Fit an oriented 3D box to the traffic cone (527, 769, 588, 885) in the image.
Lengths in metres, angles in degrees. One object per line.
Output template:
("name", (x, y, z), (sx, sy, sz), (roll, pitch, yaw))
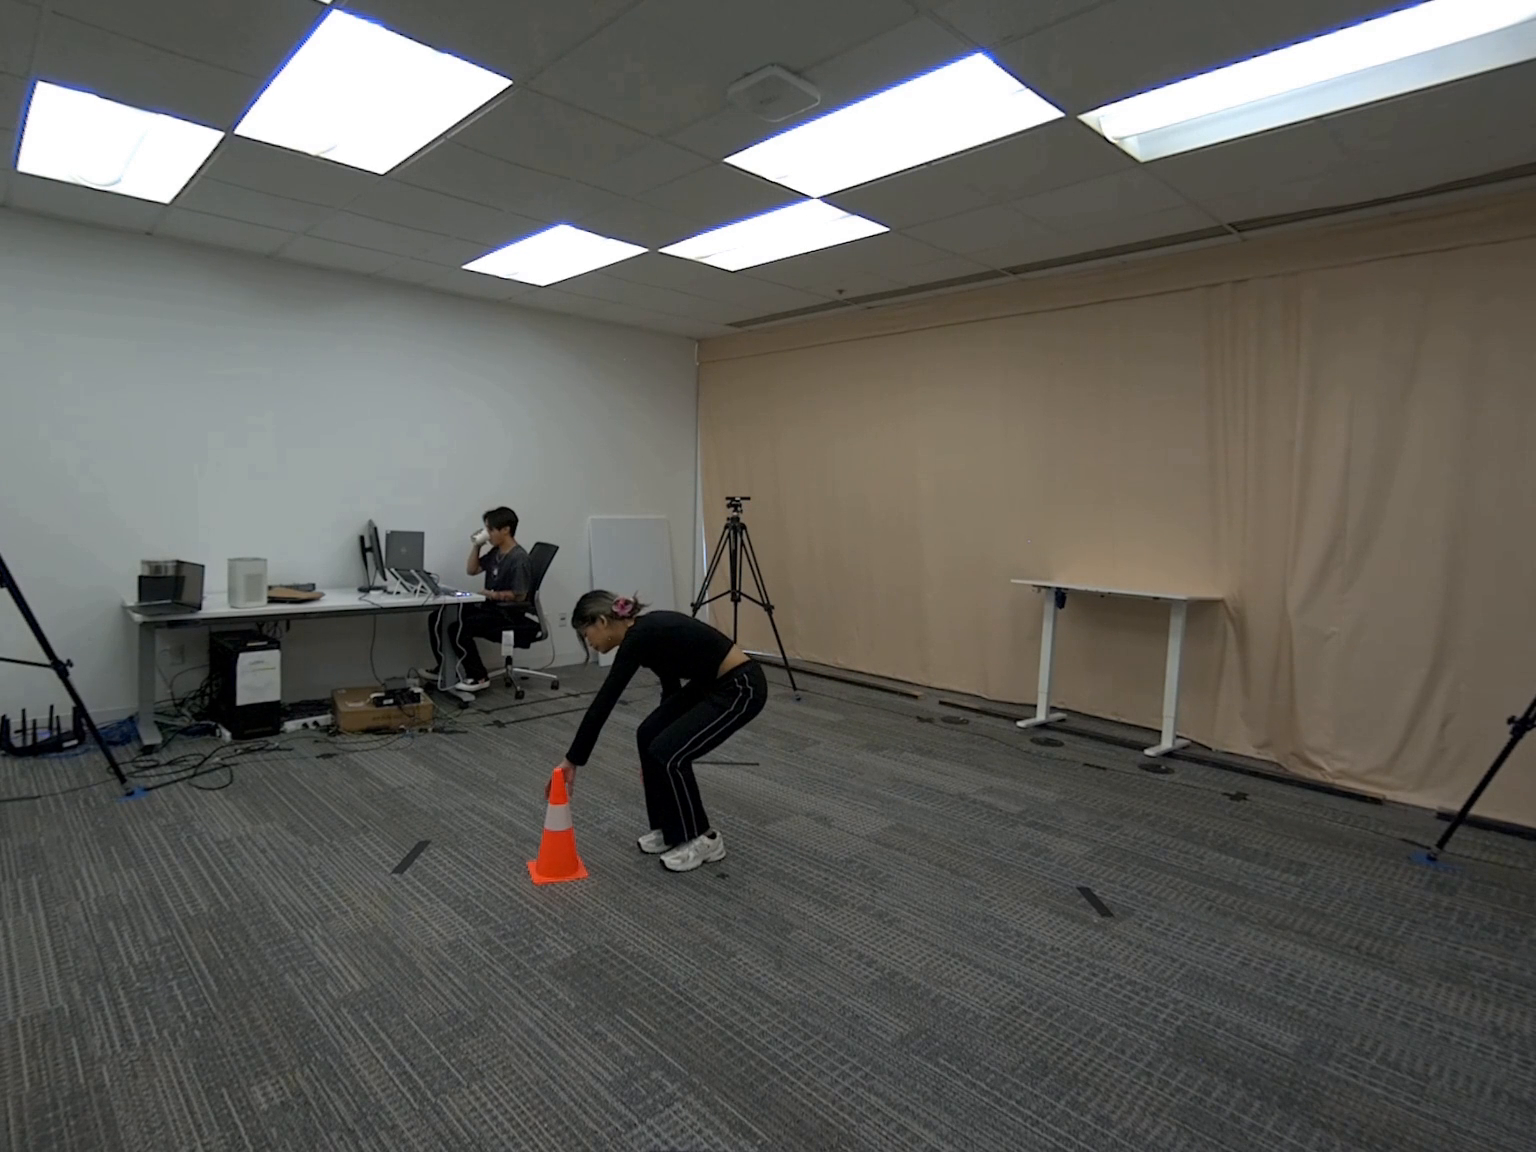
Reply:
("traffic cone", (-0.787, 0.905, 3.114), (0.202, 0.382, 0.207), (-2, 4, -20))
